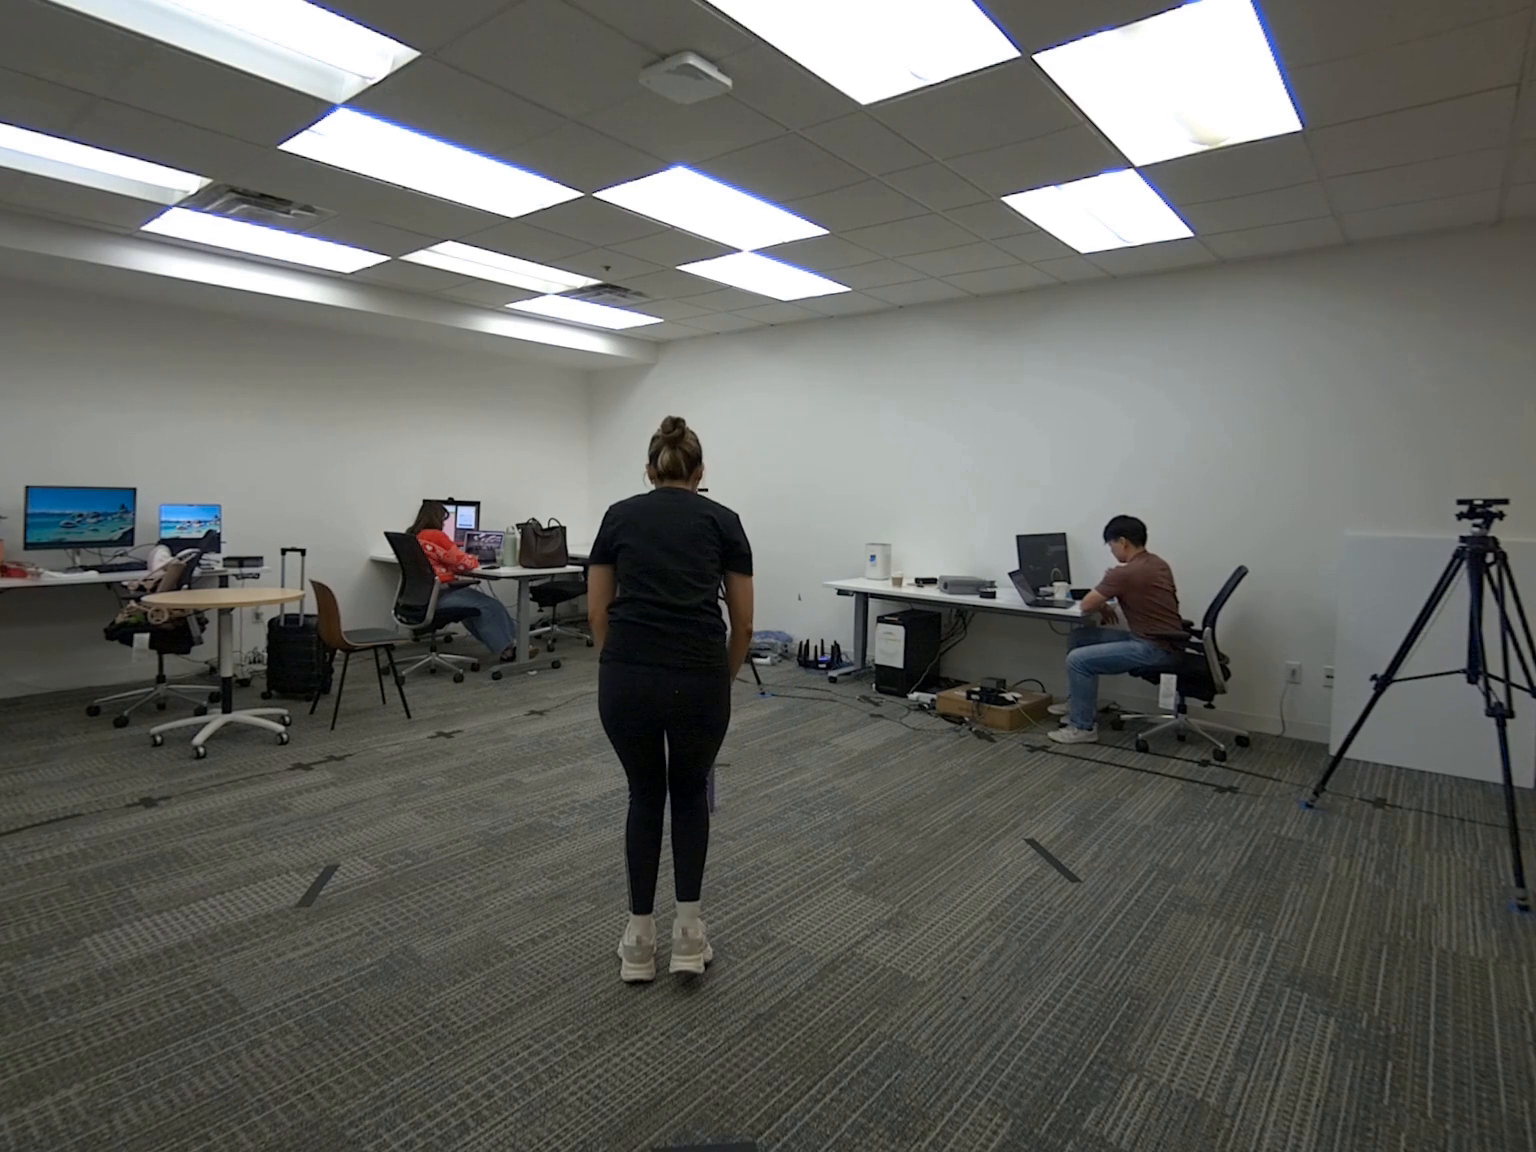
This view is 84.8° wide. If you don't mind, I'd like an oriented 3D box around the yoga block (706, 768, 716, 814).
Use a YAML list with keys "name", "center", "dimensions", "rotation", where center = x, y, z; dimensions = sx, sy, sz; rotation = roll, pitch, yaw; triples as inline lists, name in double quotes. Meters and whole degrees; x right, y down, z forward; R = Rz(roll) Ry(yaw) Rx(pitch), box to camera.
- name: "yoga block"
  center: [-0.315, 0.891, 3.699]
  dimensions: [0.149, 0.229, 0.076]
  rotation: [0, 2, 0]
